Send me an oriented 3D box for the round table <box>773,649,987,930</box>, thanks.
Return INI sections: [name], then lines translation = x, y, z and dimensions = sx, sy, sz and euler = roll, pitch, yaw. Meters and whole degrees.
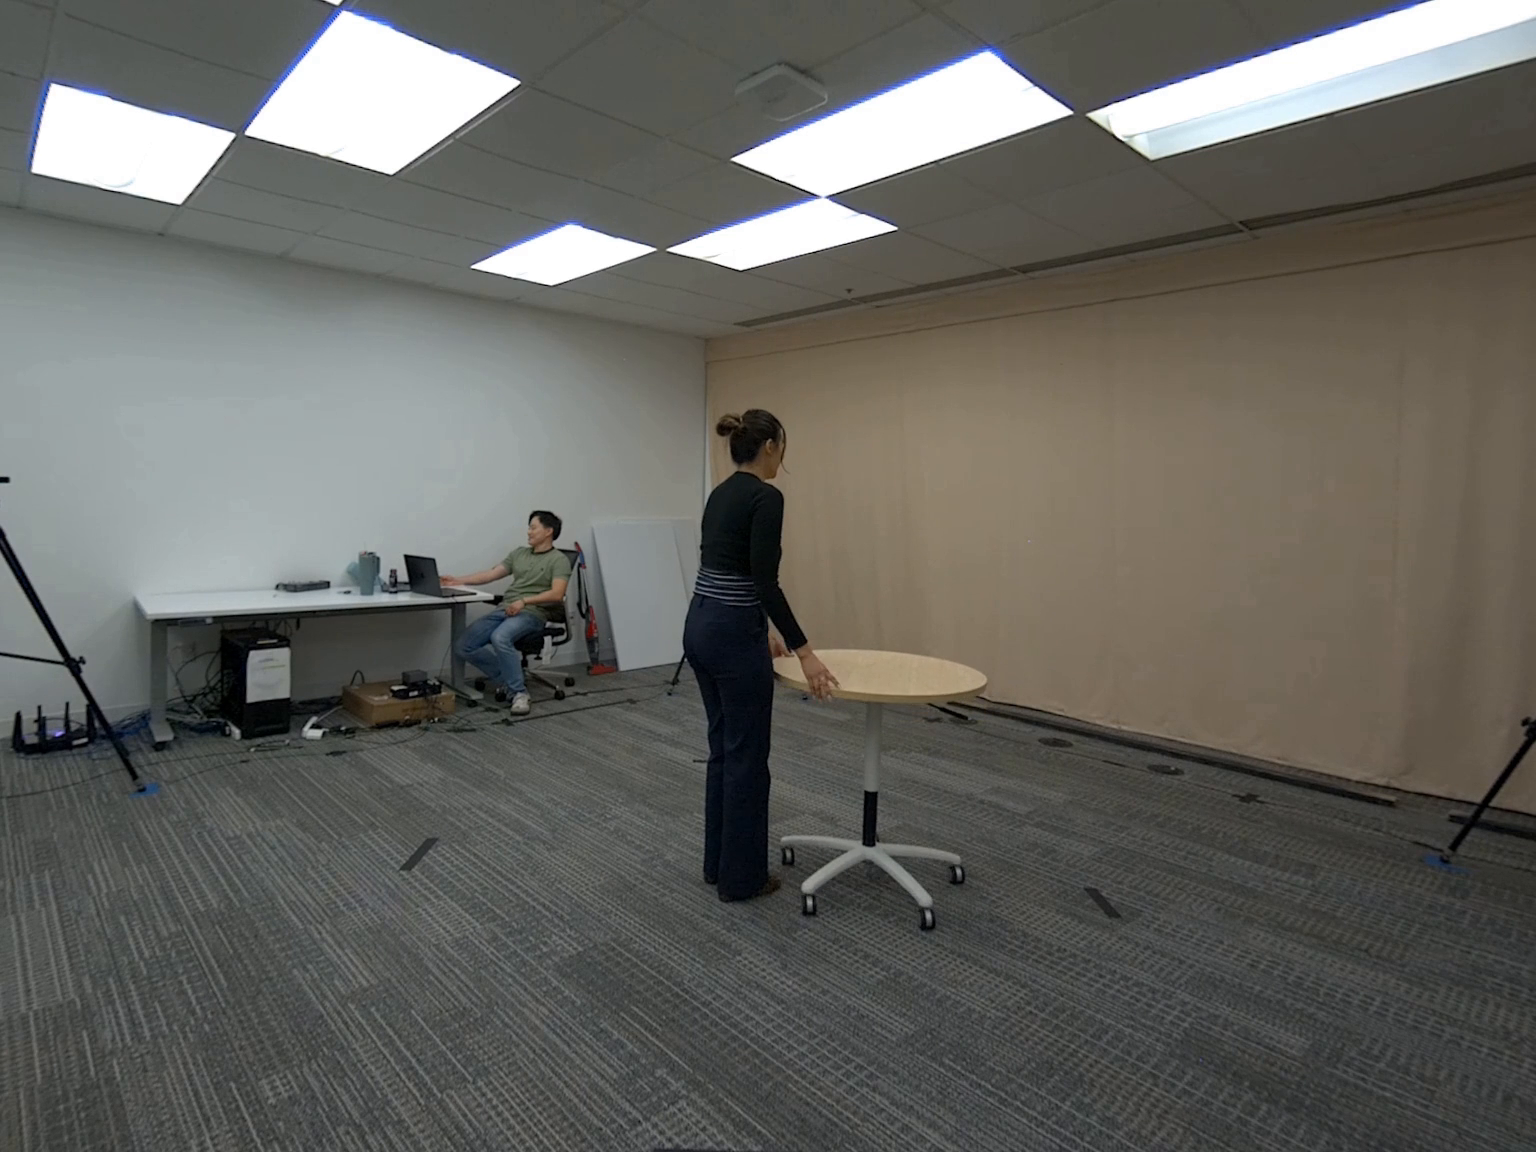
[round table]
translation = 0.364, 0.730, 3.051
dimensions = 0.763, 0.792, 0.767
euler = 2, 4, -2
